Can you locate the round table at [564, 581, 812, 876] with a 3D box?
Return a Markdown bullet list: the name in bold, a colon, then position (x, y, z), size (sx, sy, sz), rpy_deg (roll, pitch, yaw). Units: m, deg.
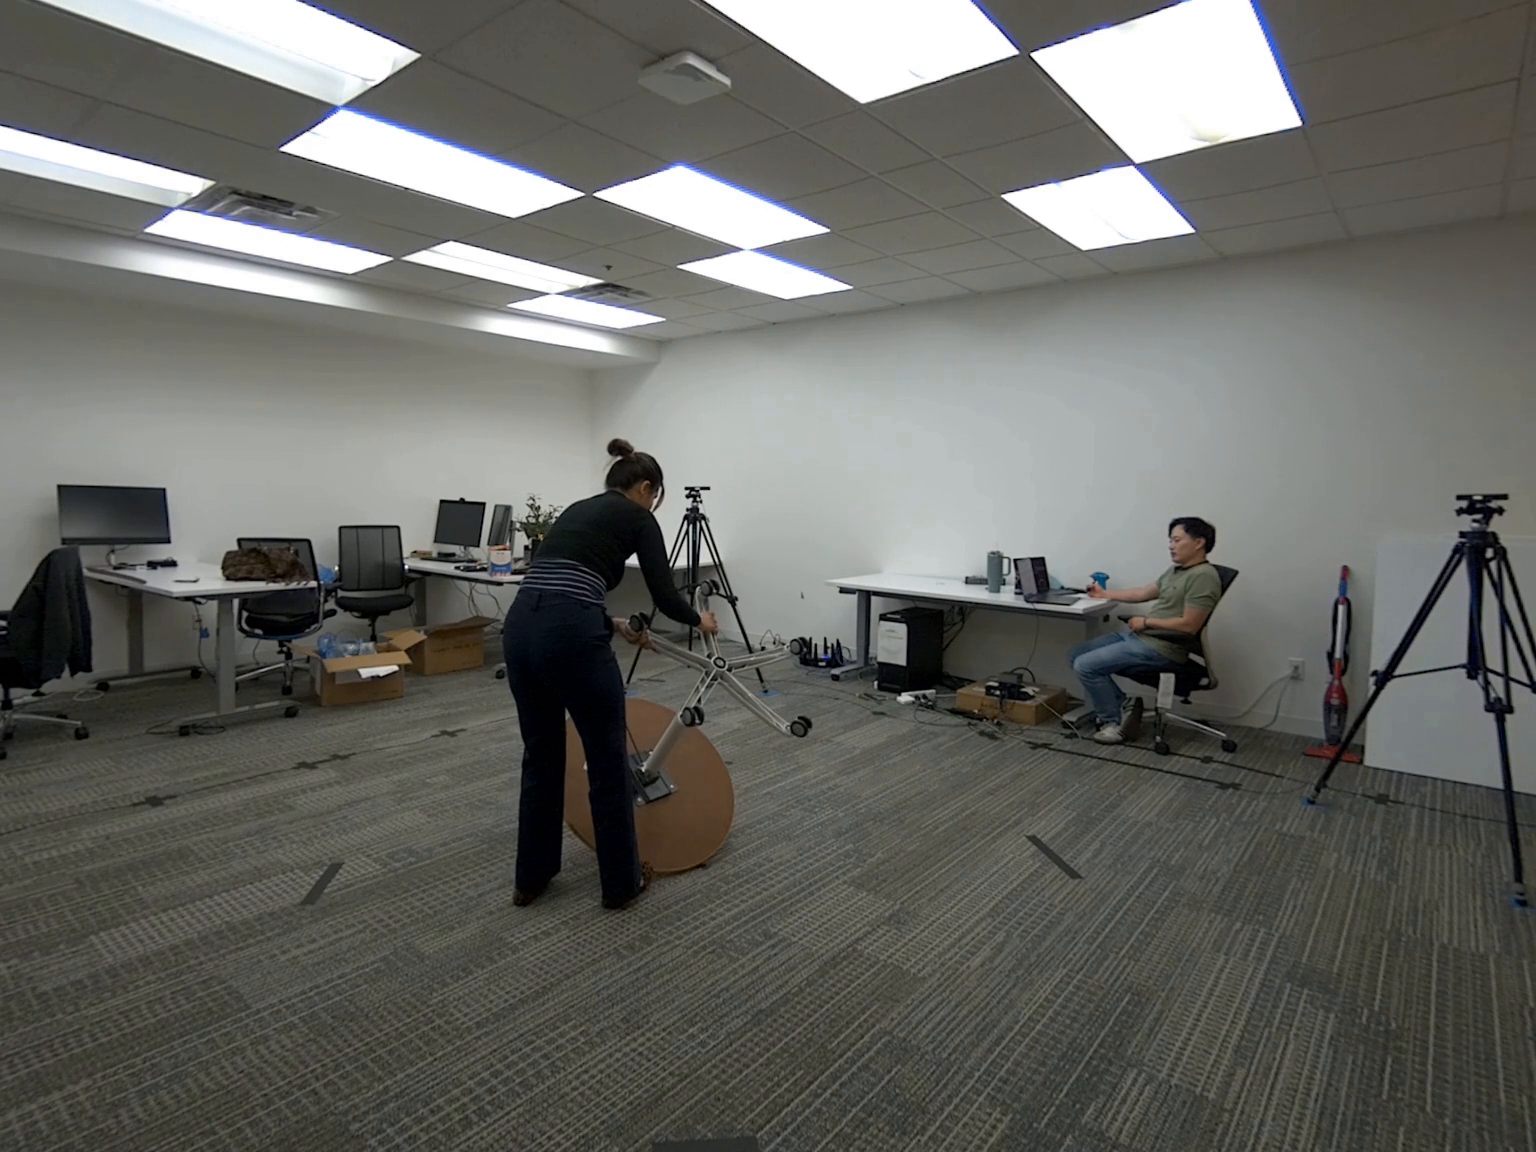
- **round table**: position (-0.311, 0.516, 3.091), size (0.748, 0.788, 0.786), rpy_deg (20, 35, -17)
